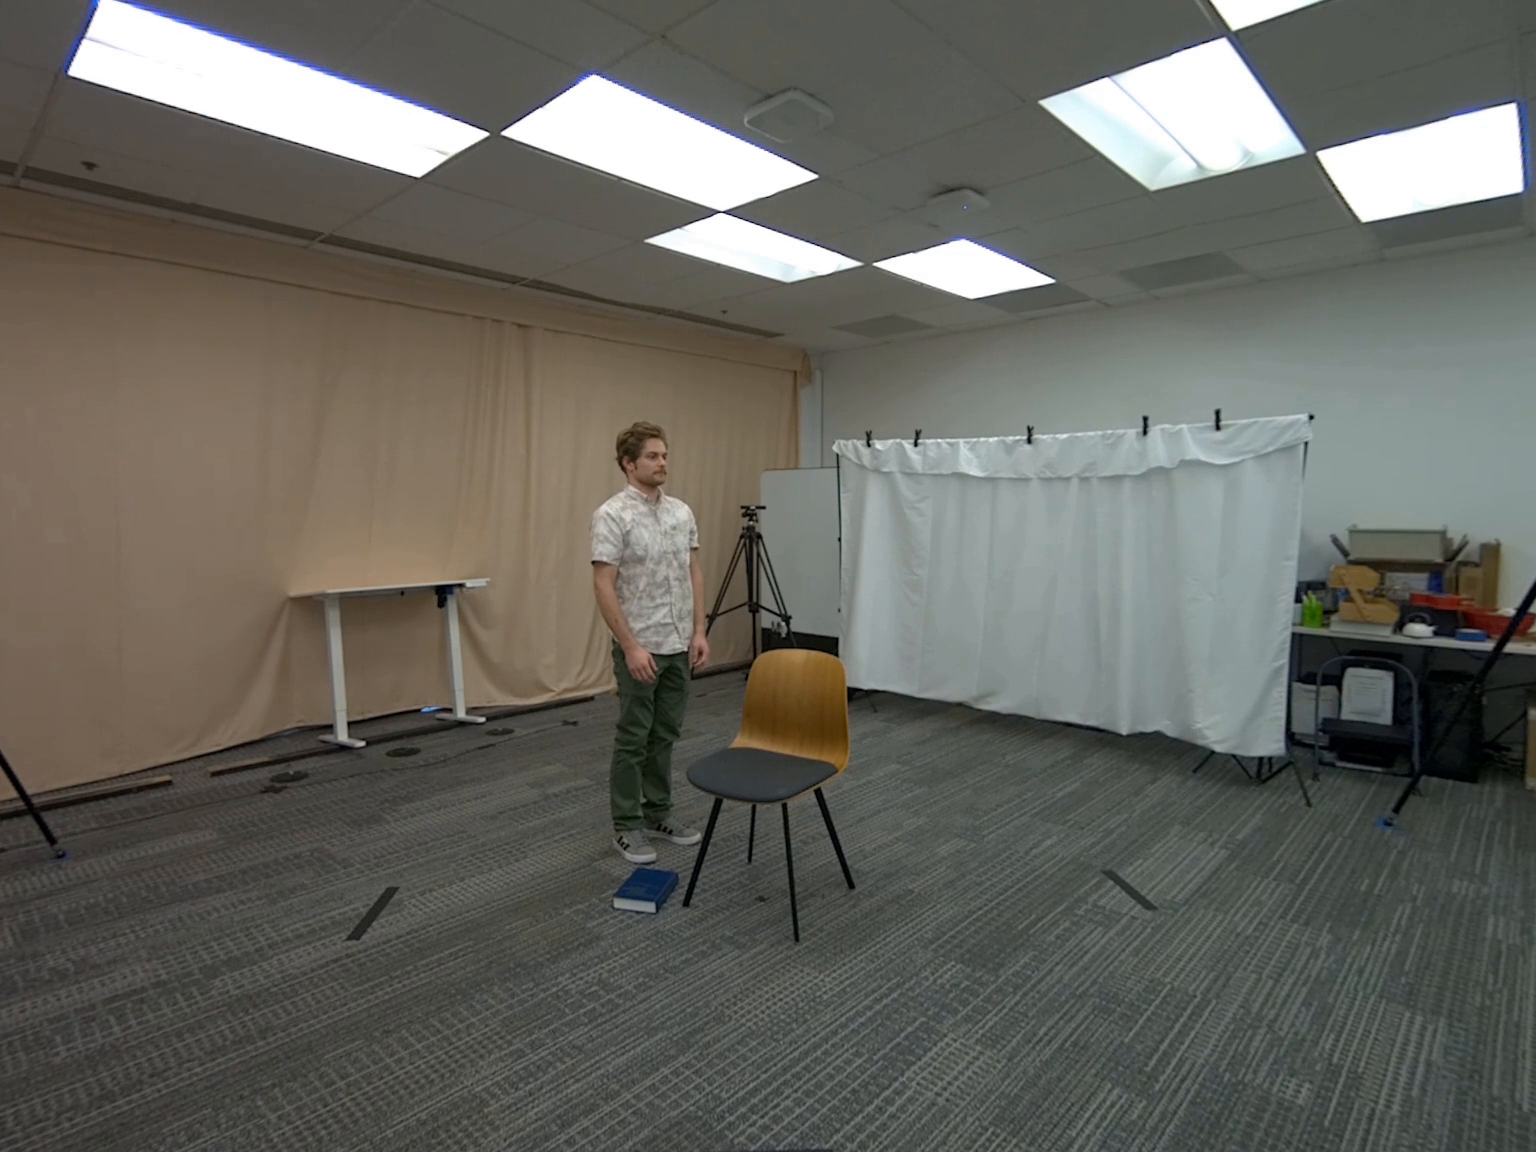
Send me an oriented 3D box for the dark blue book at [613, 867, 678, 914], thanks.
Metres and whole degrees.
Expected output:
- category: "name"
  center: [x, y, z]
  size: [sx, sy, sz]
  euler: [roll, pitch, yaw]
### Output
- category: "dark blue book"
  center: [-0.436, 1.116, 3.011]
  size: [0.166, 0.045, 0.242]
  euler: [0, 5, 14]
